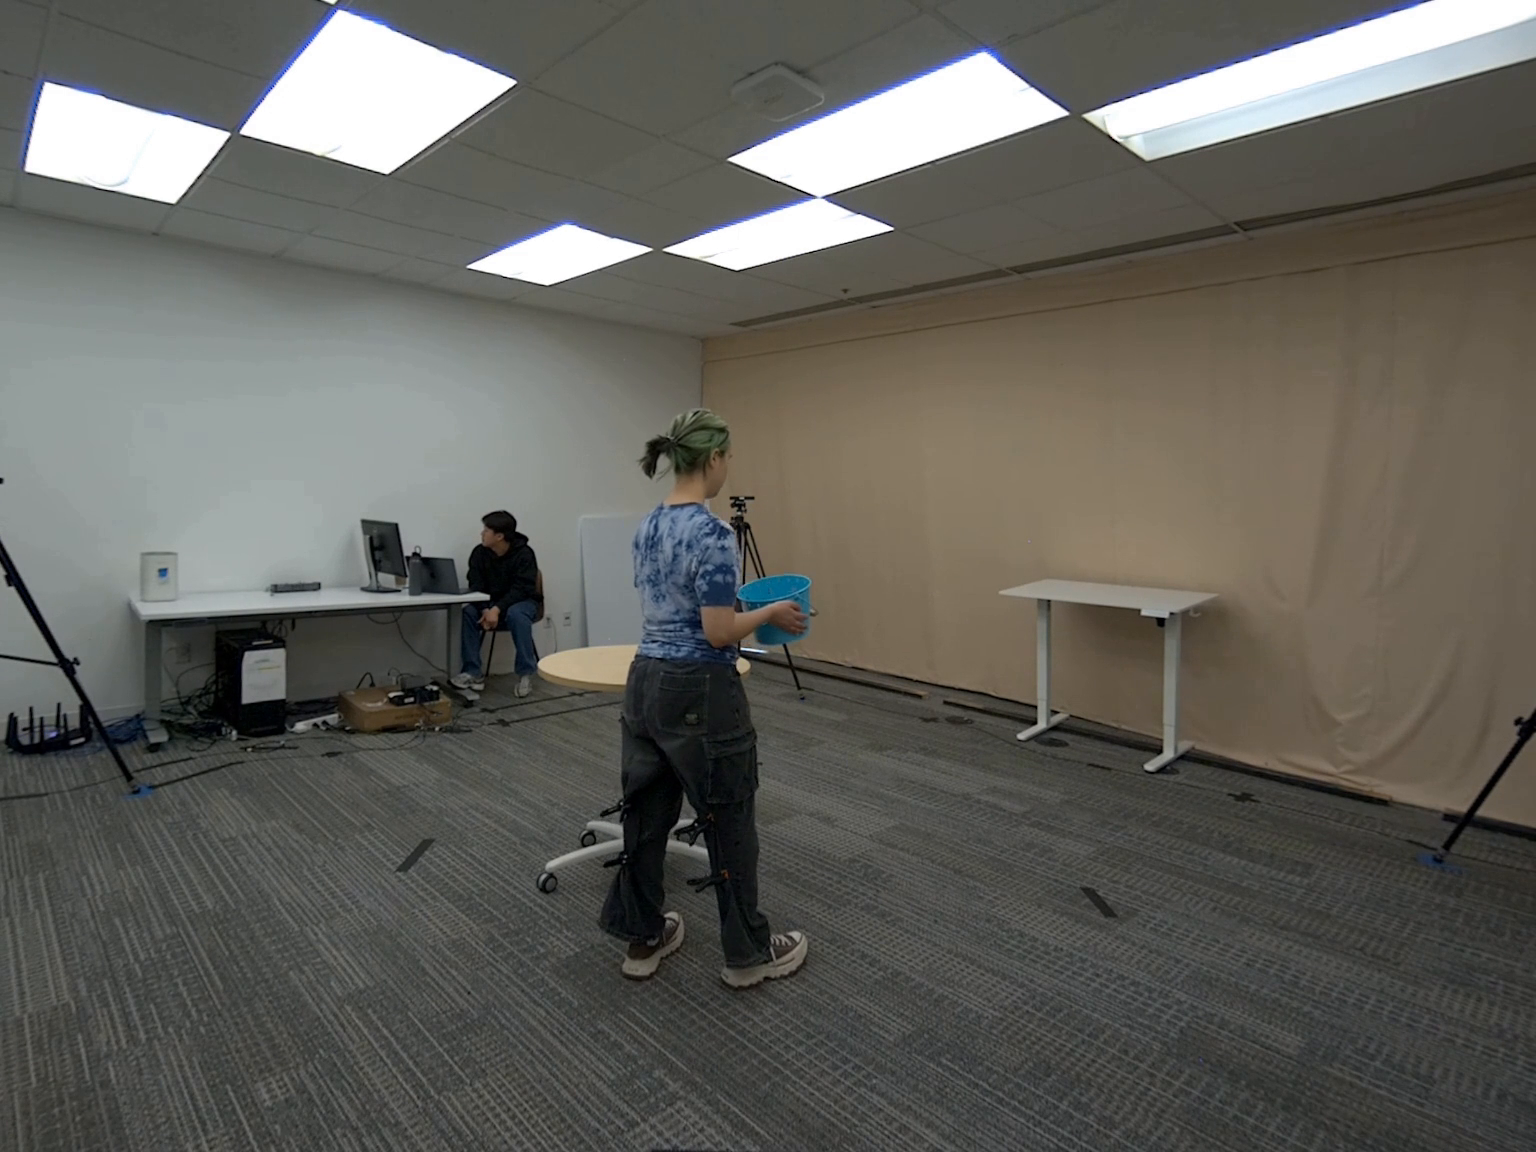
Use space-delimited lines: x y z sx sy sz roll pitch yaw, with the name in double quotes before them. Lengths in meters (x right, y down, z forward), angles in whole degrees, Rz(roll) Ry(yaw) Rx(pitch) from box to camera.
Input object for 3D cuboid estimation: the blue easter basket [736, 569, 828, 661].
"blue easter basket" 0.031 0.113 2.571 0.244 0.154 0.246 -12 17 2
